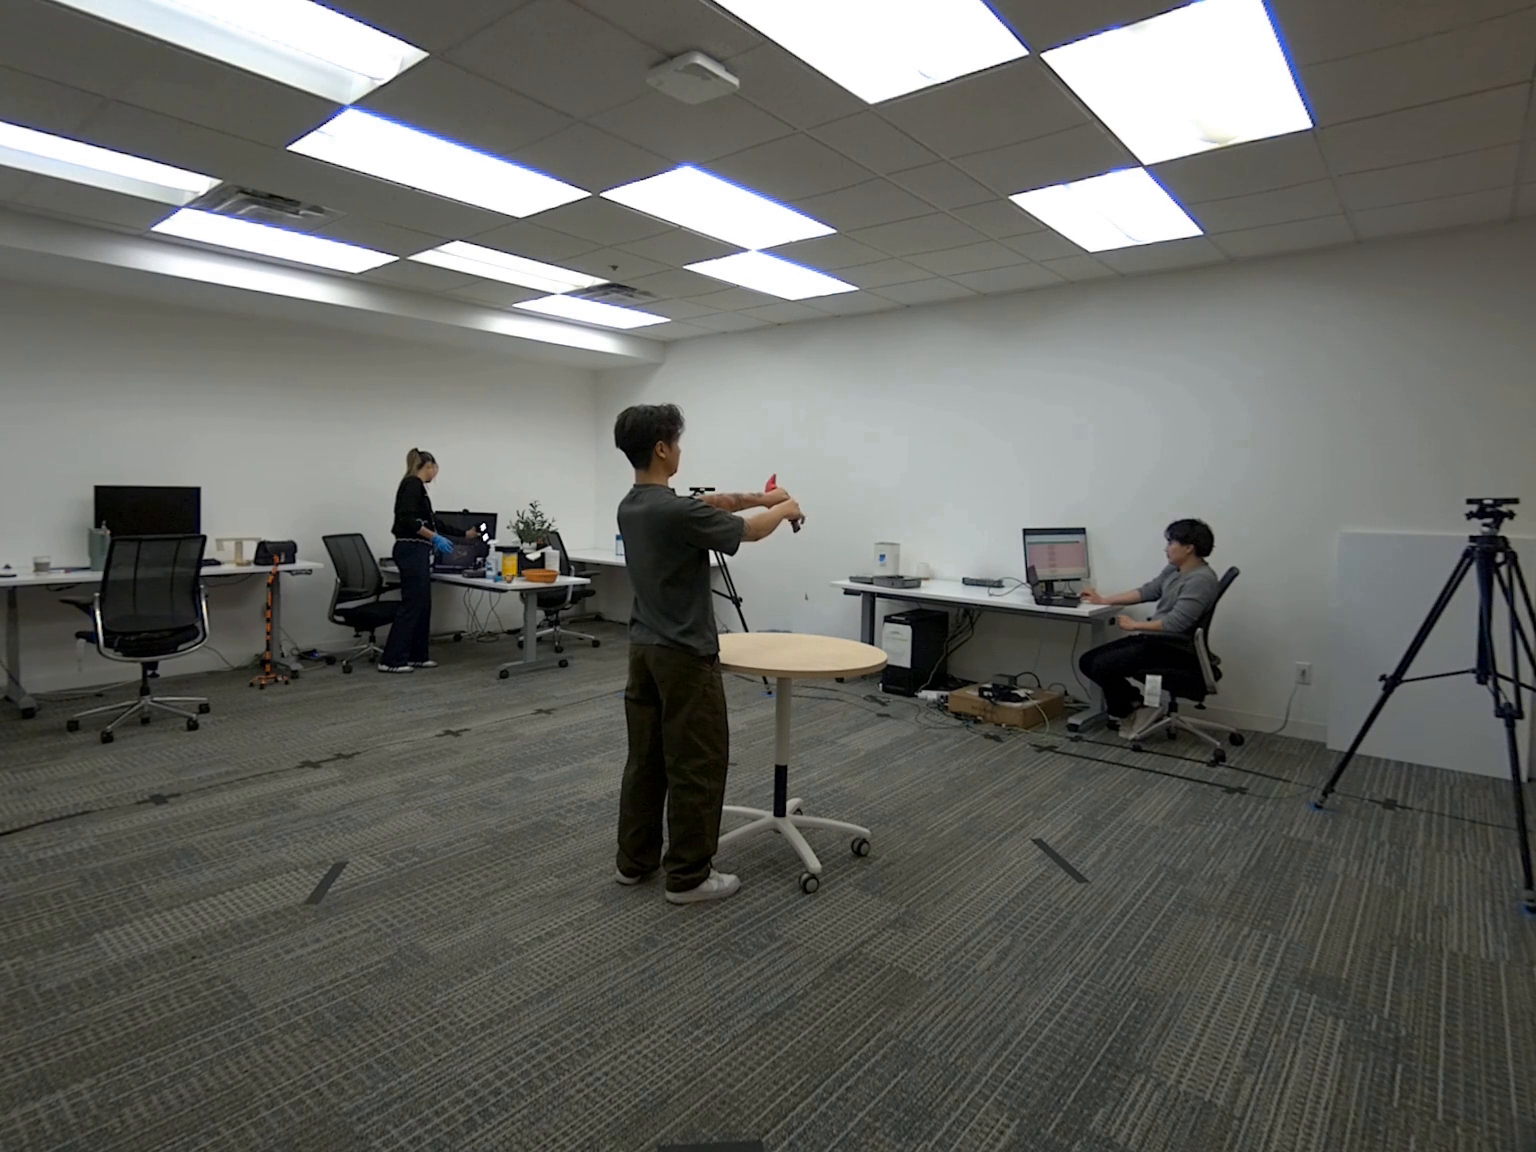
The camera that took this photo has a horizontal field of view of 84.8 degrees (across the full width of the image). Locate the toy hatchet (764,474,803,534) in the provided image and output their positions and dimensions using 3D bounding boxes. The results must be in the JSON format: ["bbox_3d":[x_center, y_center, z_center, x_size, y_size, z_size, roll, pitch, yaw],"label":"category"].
[{"bbox_3d":[0.034,-0.256,3.236,0.029,0.279,0.130,1,-38,-31],"label":"toy hatchet"}]
